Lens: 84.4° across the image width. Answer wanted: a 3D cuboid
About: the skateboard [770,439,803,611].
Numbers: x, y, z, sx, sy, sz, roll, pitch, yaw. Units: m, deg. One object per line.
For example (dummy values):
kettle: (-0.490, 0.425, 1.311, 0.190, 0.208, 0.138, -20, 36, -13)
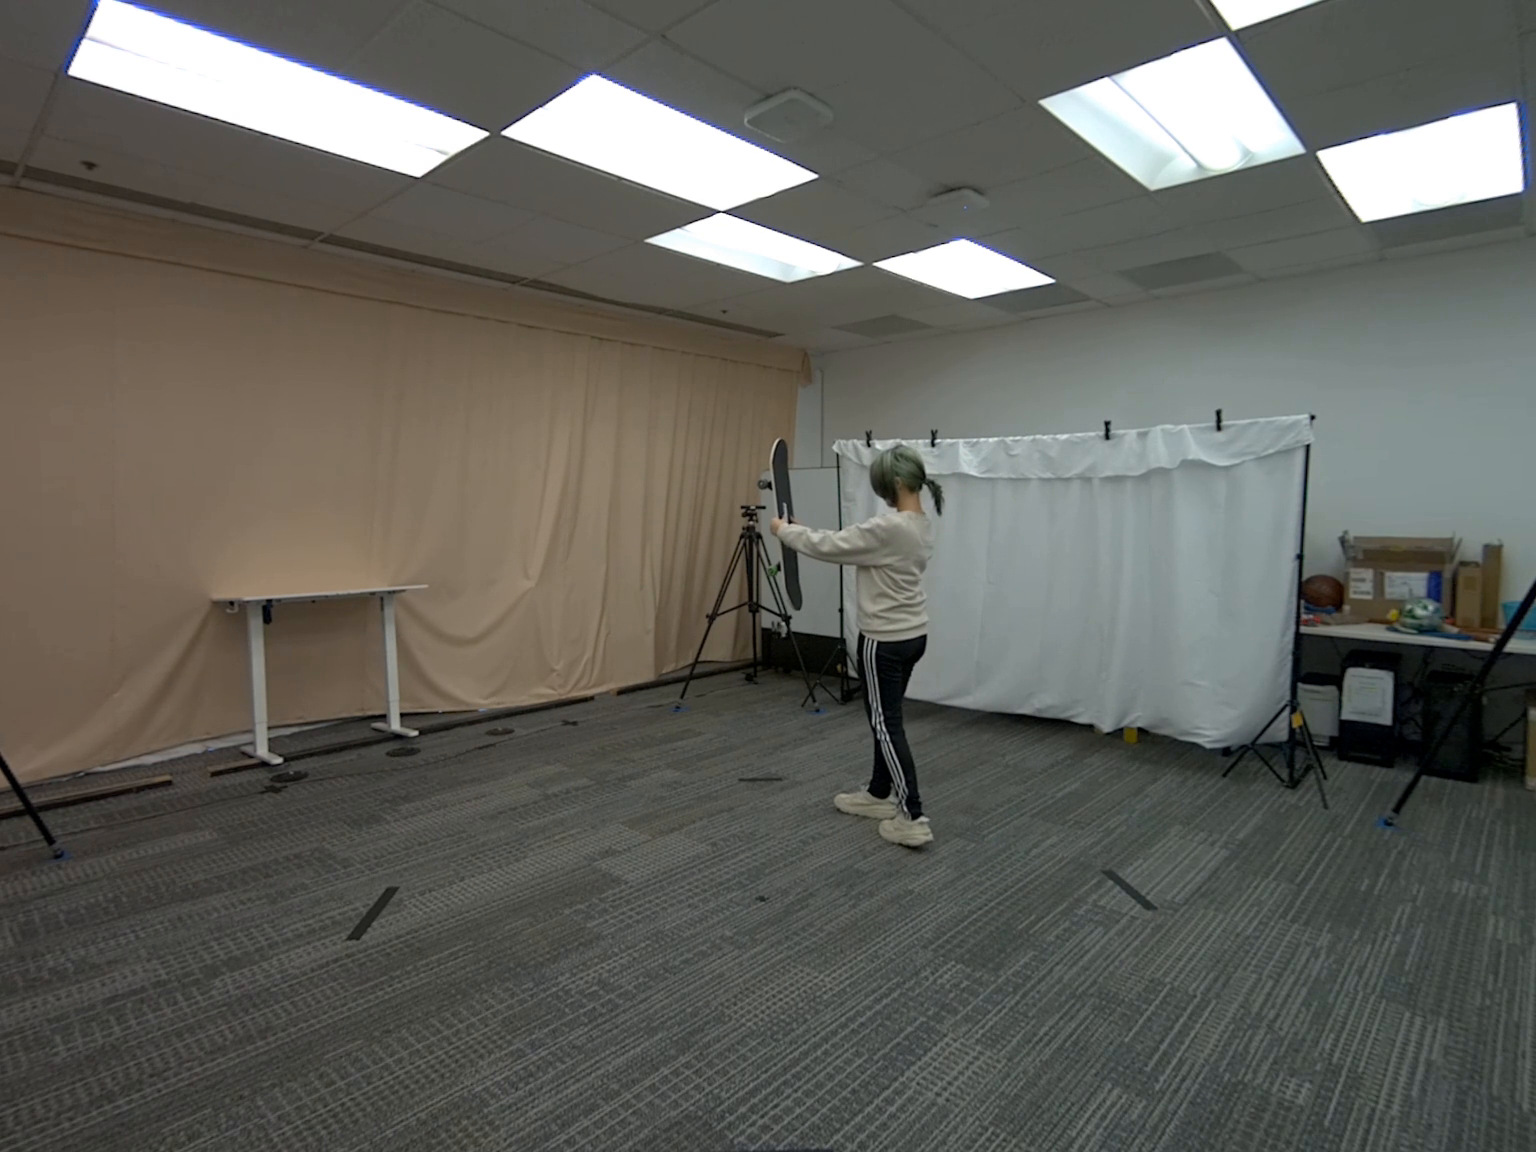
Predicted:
skateboard: (0.062, -0.229, 3.877, 0.113, 0.784, 0.189, -5, 3, 24)
